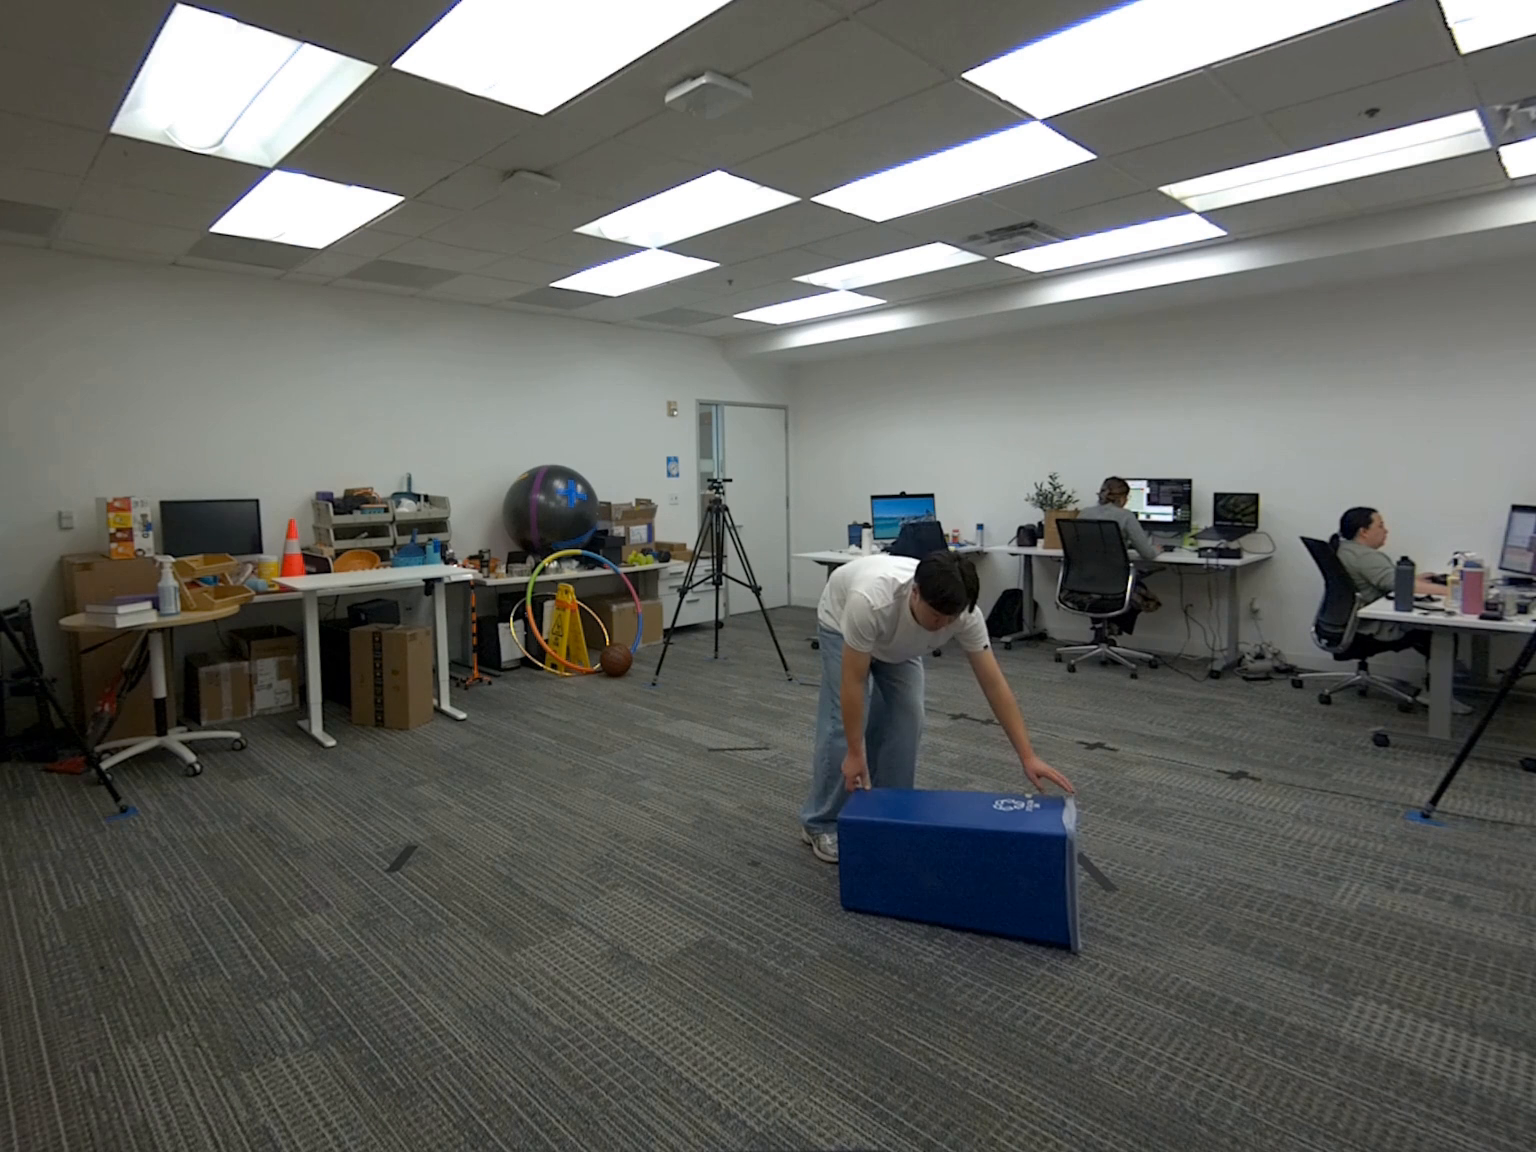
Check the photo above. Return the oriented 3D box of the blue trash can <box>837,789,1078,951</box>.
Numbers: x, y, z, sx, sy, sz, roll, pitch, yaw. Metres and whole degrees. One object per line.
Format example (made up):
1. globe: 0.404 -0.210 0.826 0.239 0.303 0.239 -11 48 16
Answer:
1. blue trash can: 0.615 0.908 2.744 0.726 0.377 0.368 -3 3 20
